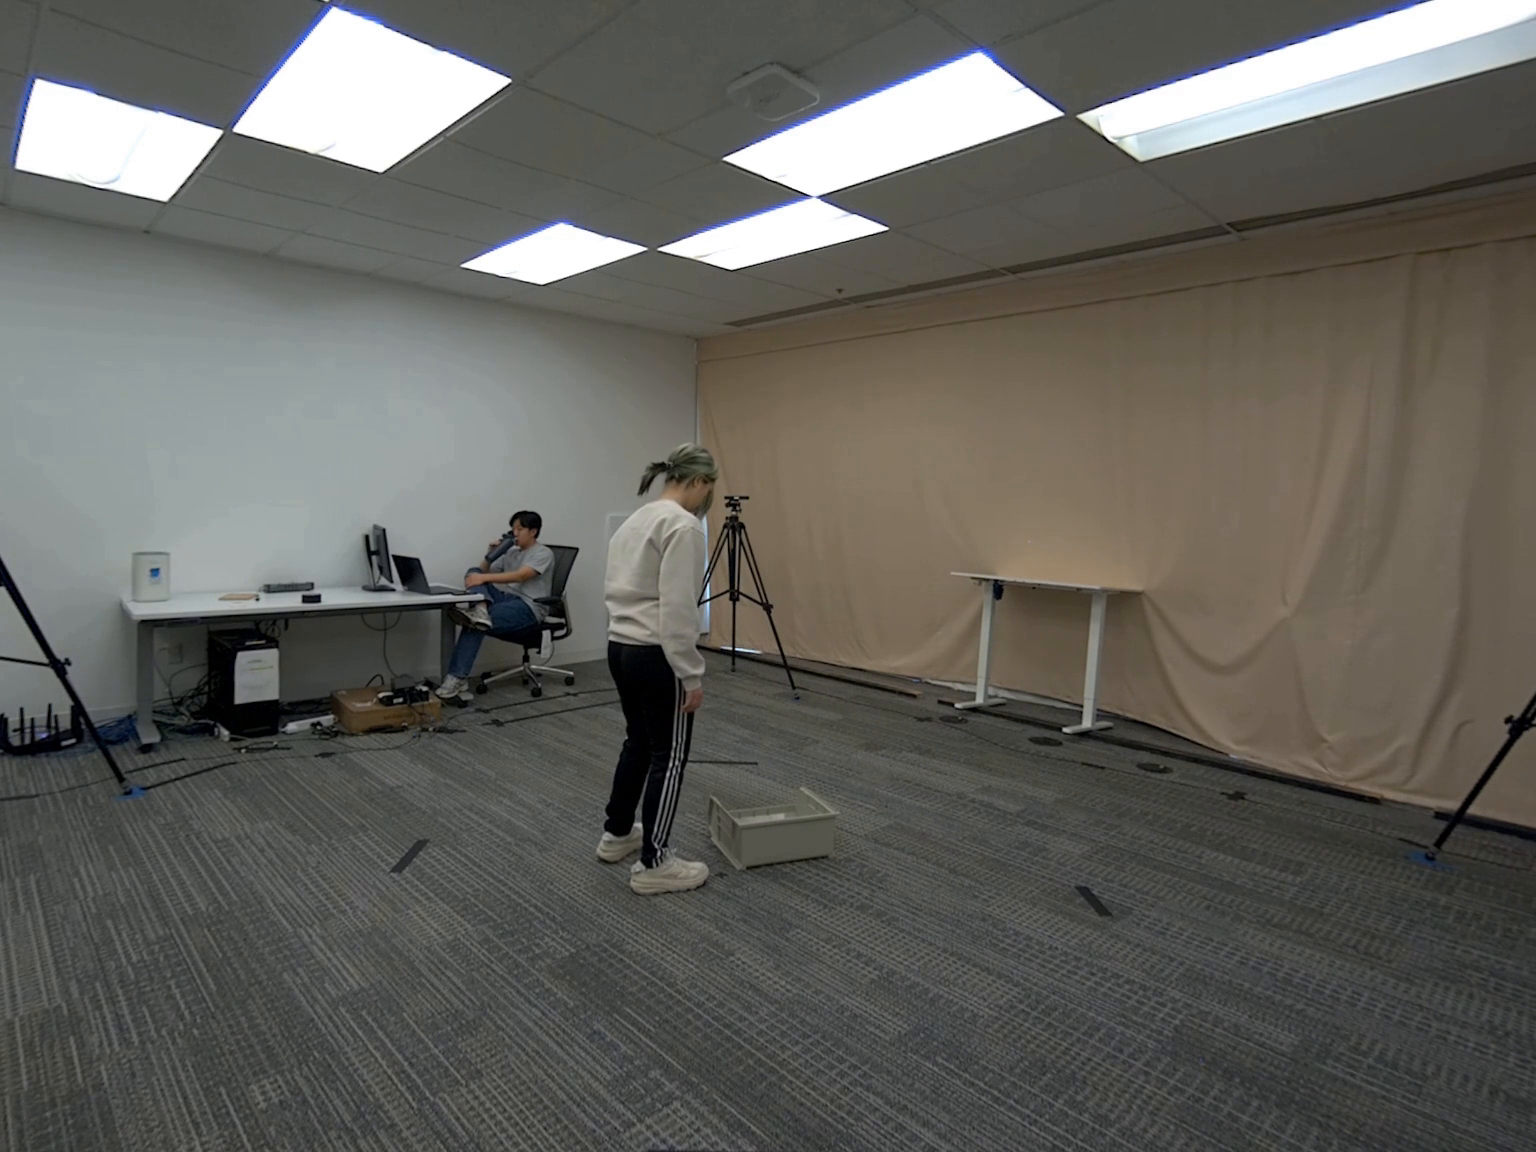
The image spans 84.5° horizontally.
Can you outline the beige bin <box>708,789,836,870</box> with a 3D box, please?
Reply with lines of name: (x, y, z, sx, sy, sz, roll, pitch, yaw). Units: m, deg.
beige bin: (0.002, 0.994, 3.373, 0.415, 0.188, 0.385, 1, 5, -22)
